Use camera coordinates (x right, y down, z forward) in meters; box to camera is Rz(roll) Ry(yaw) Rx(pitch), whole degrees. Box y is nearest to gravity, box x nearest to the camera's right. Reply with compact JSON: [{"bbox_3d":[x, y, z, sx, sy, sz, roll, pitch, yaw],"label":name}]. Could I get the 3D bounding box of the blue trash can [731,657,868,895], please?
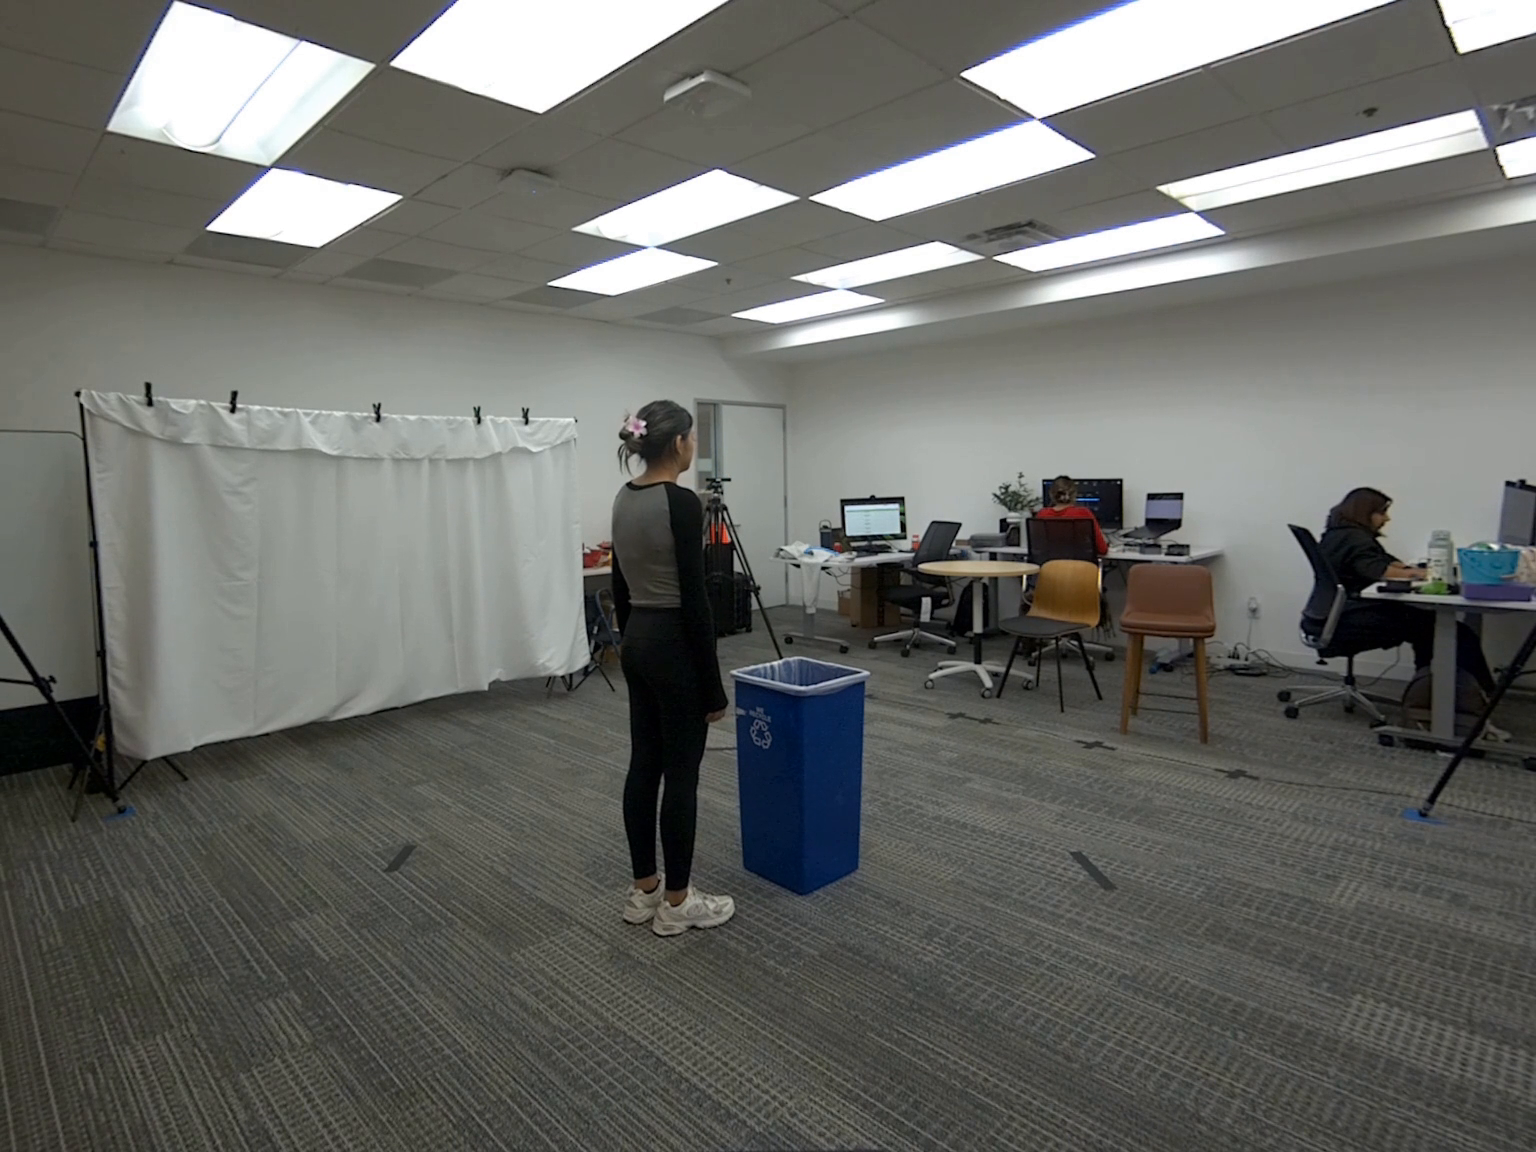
[{"bbox_3d":[0.122,0.690,3.031,0.368,0.711,0.385,-5,6,-43],"label":"blue trash can"}]
